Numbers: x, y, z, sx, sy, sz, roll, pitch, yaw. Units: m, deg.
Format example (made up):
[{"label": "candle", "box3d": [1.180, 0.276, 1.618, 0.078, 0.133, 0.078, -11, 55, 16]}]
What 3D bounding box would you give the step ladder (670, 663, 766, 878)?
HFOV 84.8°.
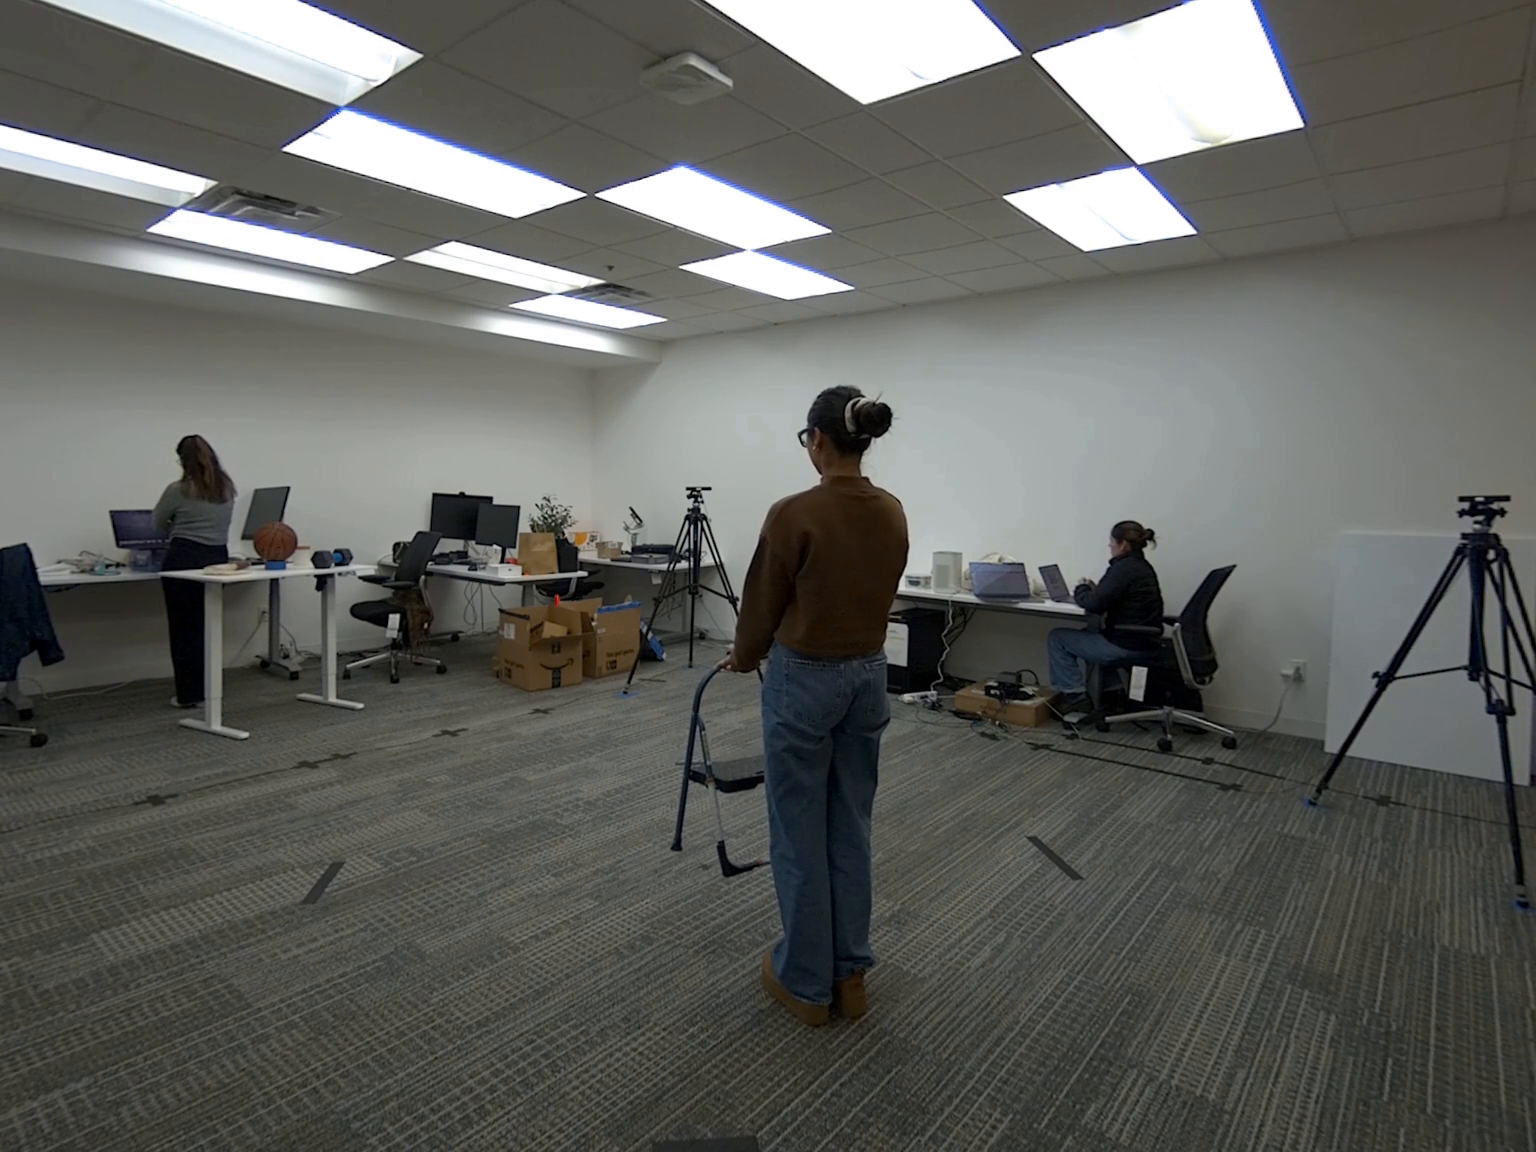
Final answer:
[{"label": "step ladder", "box3d": [-0.065, 0.538, 2.643, 0.419, 0.607, 0.358, -3, -2, -33]}]
